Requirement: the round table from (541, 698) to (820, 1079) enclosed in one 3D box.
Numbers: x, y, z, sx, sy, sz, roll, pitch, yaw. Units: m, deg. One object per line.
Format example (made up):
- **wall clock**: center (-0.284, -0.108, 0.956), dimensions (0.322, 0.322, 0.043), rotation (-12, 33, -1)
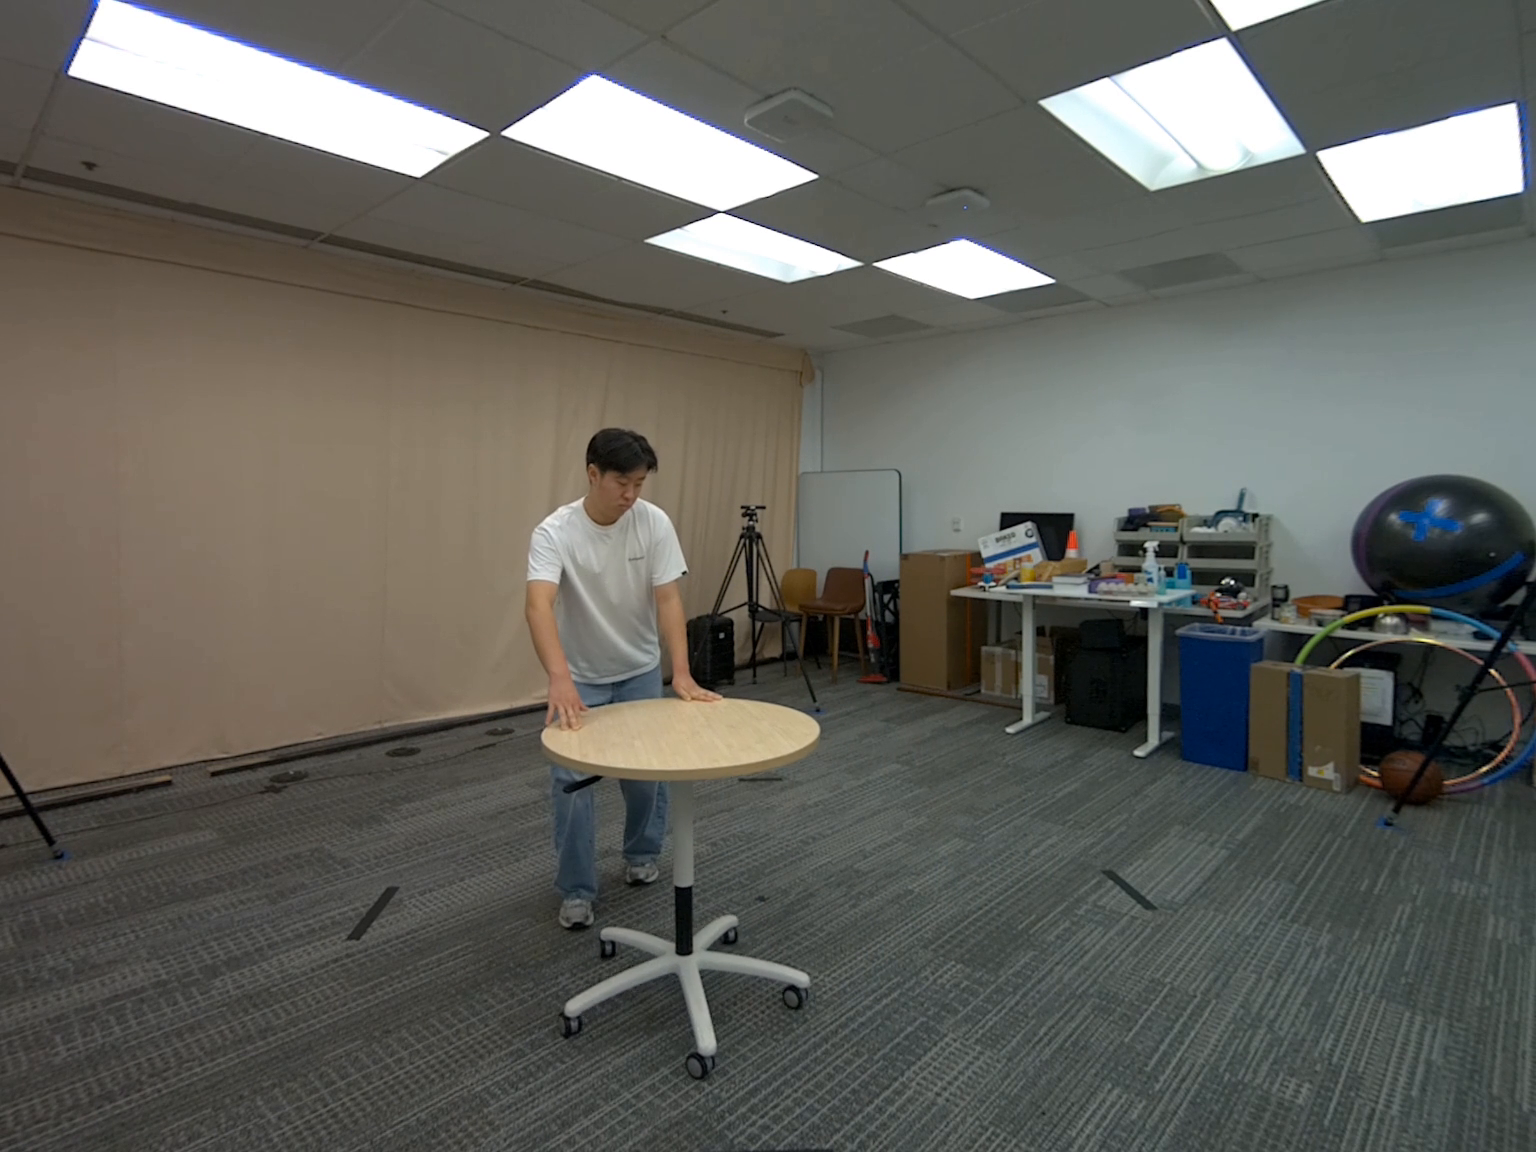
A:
- **round table**: center (-0.237, 0.812, 2.362), dimensions (0.763, 0.792, 0.766), rotation (-1, 4, -2)
